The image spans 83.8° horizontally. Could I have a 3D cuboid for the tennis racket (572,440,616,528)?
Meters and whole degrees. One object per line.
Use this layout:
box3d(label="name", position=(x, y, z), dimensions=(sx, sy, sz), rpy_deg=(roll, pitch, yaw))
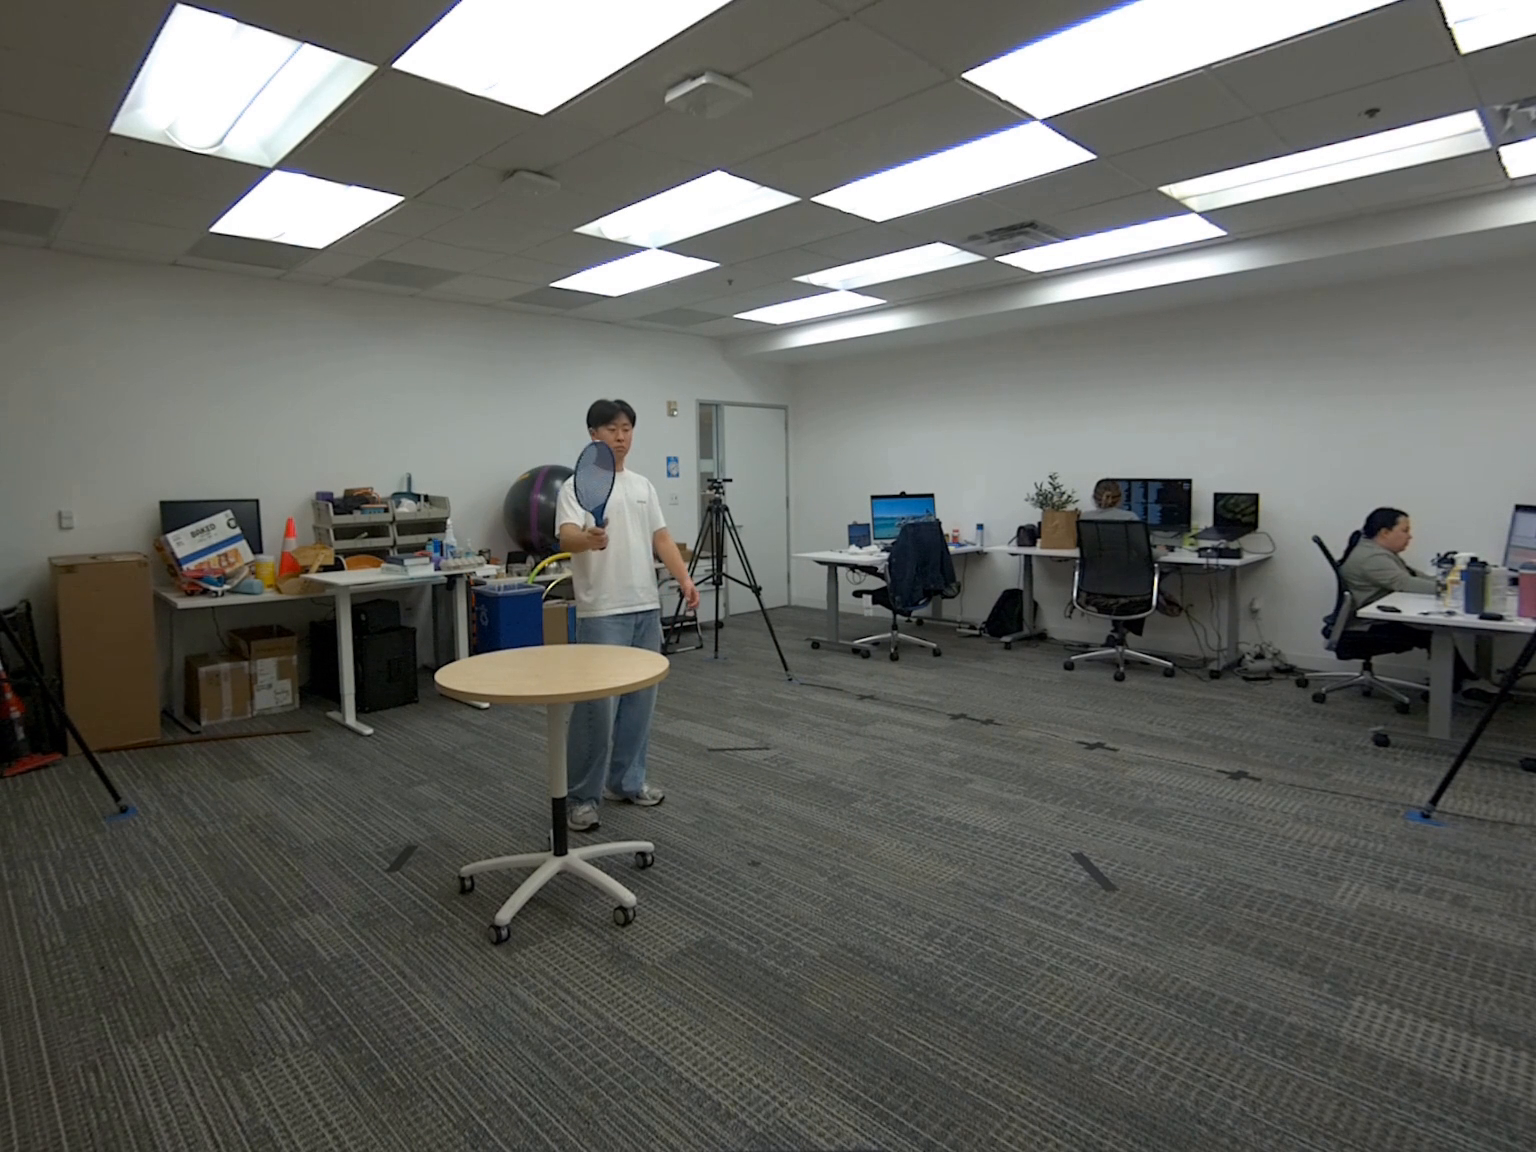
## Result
box3d(label="tennis racket", position=(-0.607, -0.286, 3.053), dimensions=(0.032, 0.422, 0.213), rpy_deg=(18, 39, 22))
